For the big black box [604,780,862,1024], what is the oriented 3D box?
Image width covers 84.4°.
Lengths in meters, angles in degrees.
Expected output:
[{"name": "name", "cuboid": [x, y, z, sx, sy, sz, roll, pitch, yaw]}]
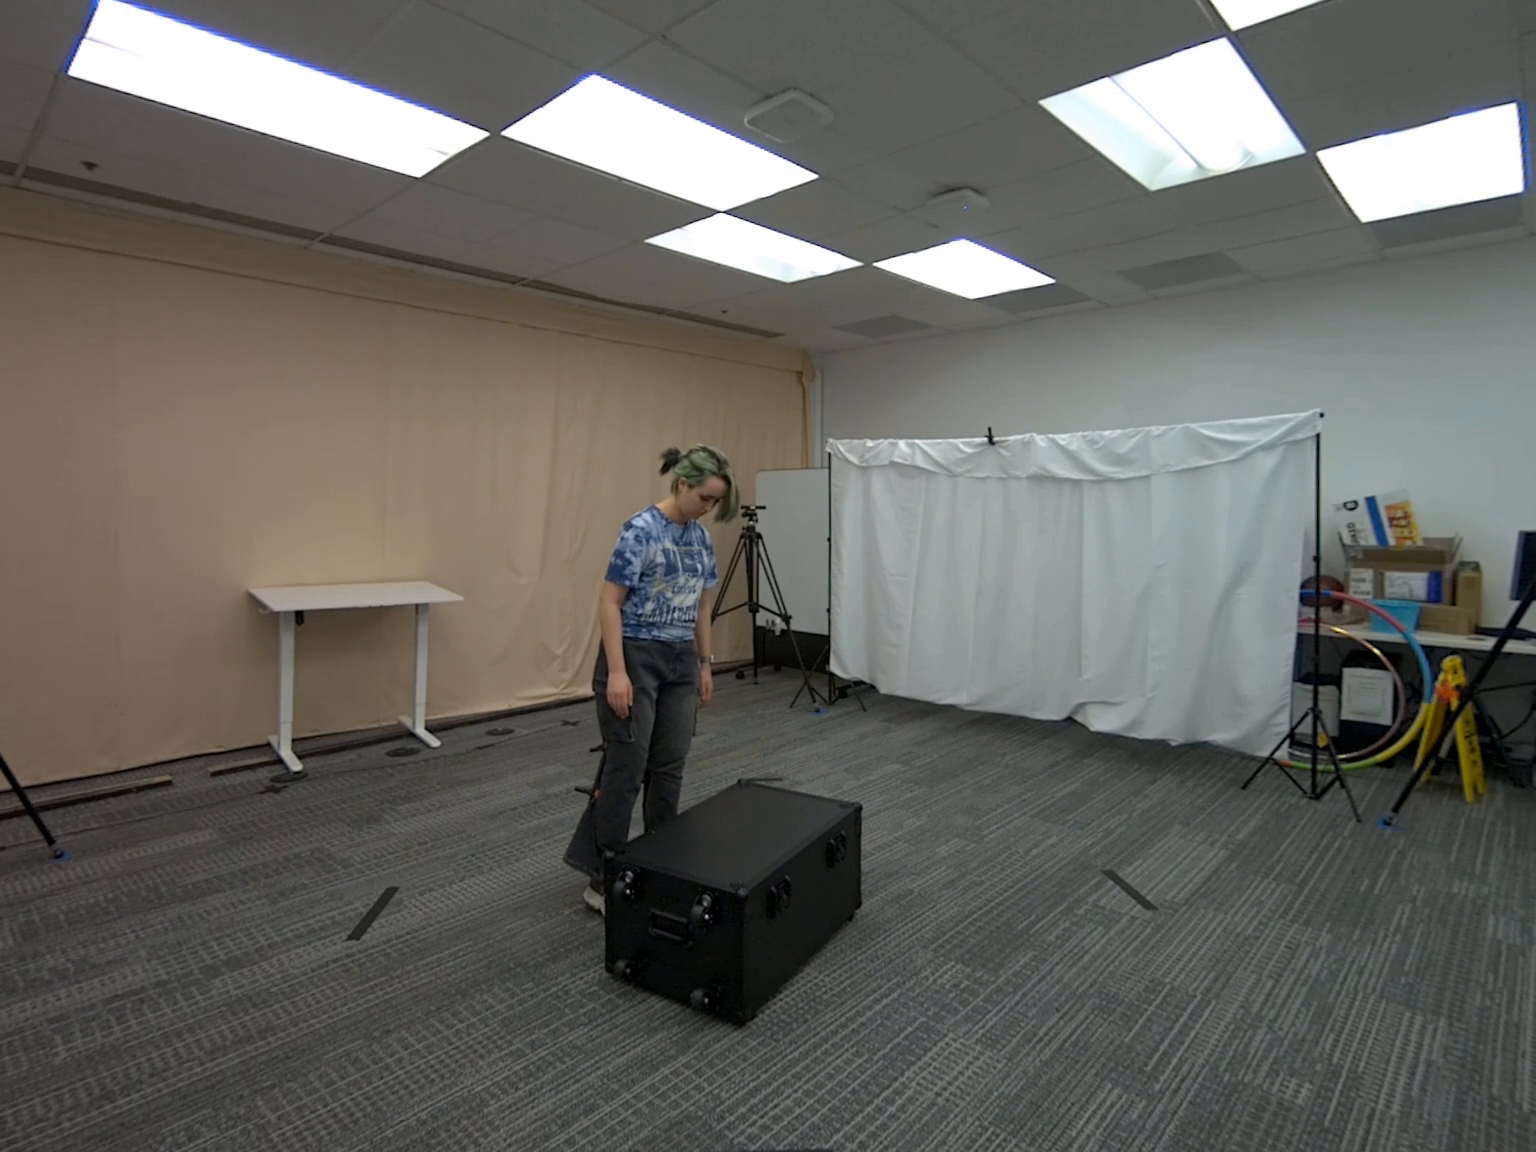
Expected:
[{"name": "big black box", "cuboid": [-0.094, 0.983, 2.638, 0.536, 0.395, 0.838, 2, 4, 31]}]
